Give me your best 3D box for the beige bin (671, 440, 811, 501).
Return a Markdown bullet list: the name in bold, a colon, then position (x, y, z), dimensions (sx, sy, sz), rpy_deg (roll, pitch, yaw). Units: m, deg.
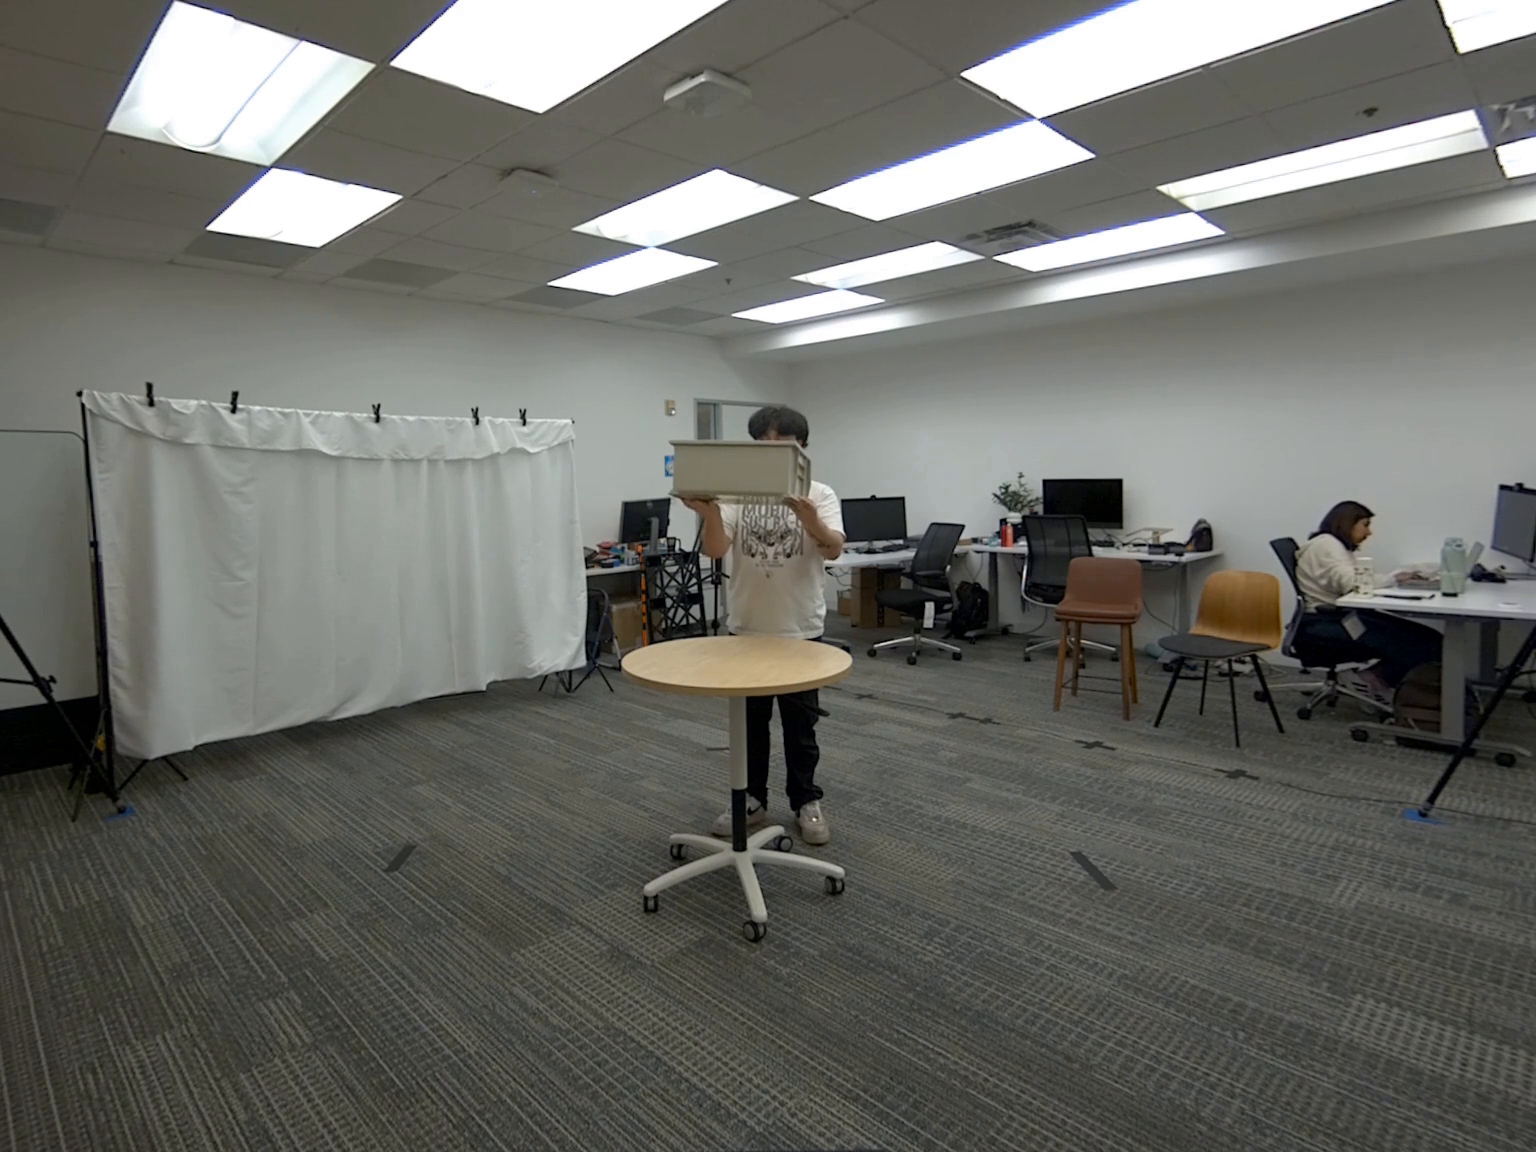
- **beige bin**: position (-0.087, -0.338, 2.917), dimensions (0.428, 0.189, 0.372), rpy_deg (4, 0, 12)
